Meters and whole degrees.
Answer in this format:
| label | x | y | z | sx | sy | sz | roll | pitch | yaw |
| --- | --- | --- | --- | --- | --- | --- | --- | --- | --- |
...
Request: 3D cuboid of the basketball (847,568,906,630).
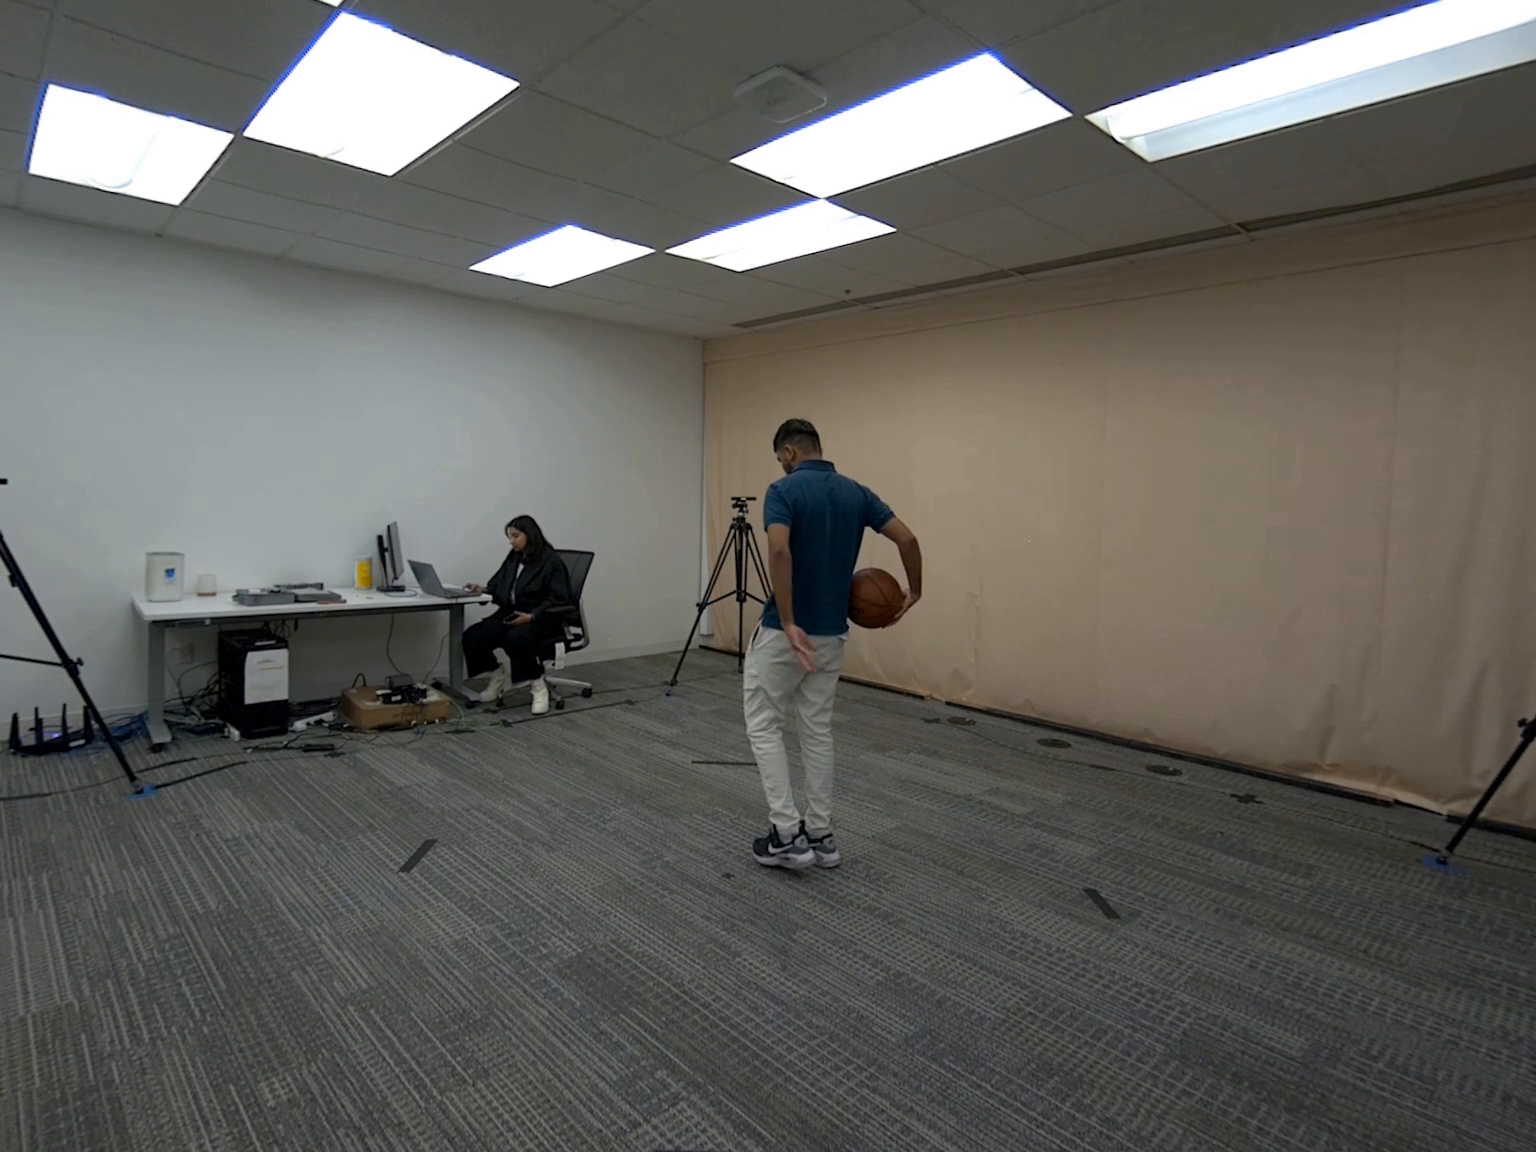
| label | x | y | z | sx | sy | sz | roll | pitch | yaw |
| --- | --- | --- | --- | --- | --- | --- | --- | --- | --- |
| basketball | 0.395 | 0.087 | 3.293 | 0.236 | 0.235 | 0.237 | 1 | 4 | -1 |
